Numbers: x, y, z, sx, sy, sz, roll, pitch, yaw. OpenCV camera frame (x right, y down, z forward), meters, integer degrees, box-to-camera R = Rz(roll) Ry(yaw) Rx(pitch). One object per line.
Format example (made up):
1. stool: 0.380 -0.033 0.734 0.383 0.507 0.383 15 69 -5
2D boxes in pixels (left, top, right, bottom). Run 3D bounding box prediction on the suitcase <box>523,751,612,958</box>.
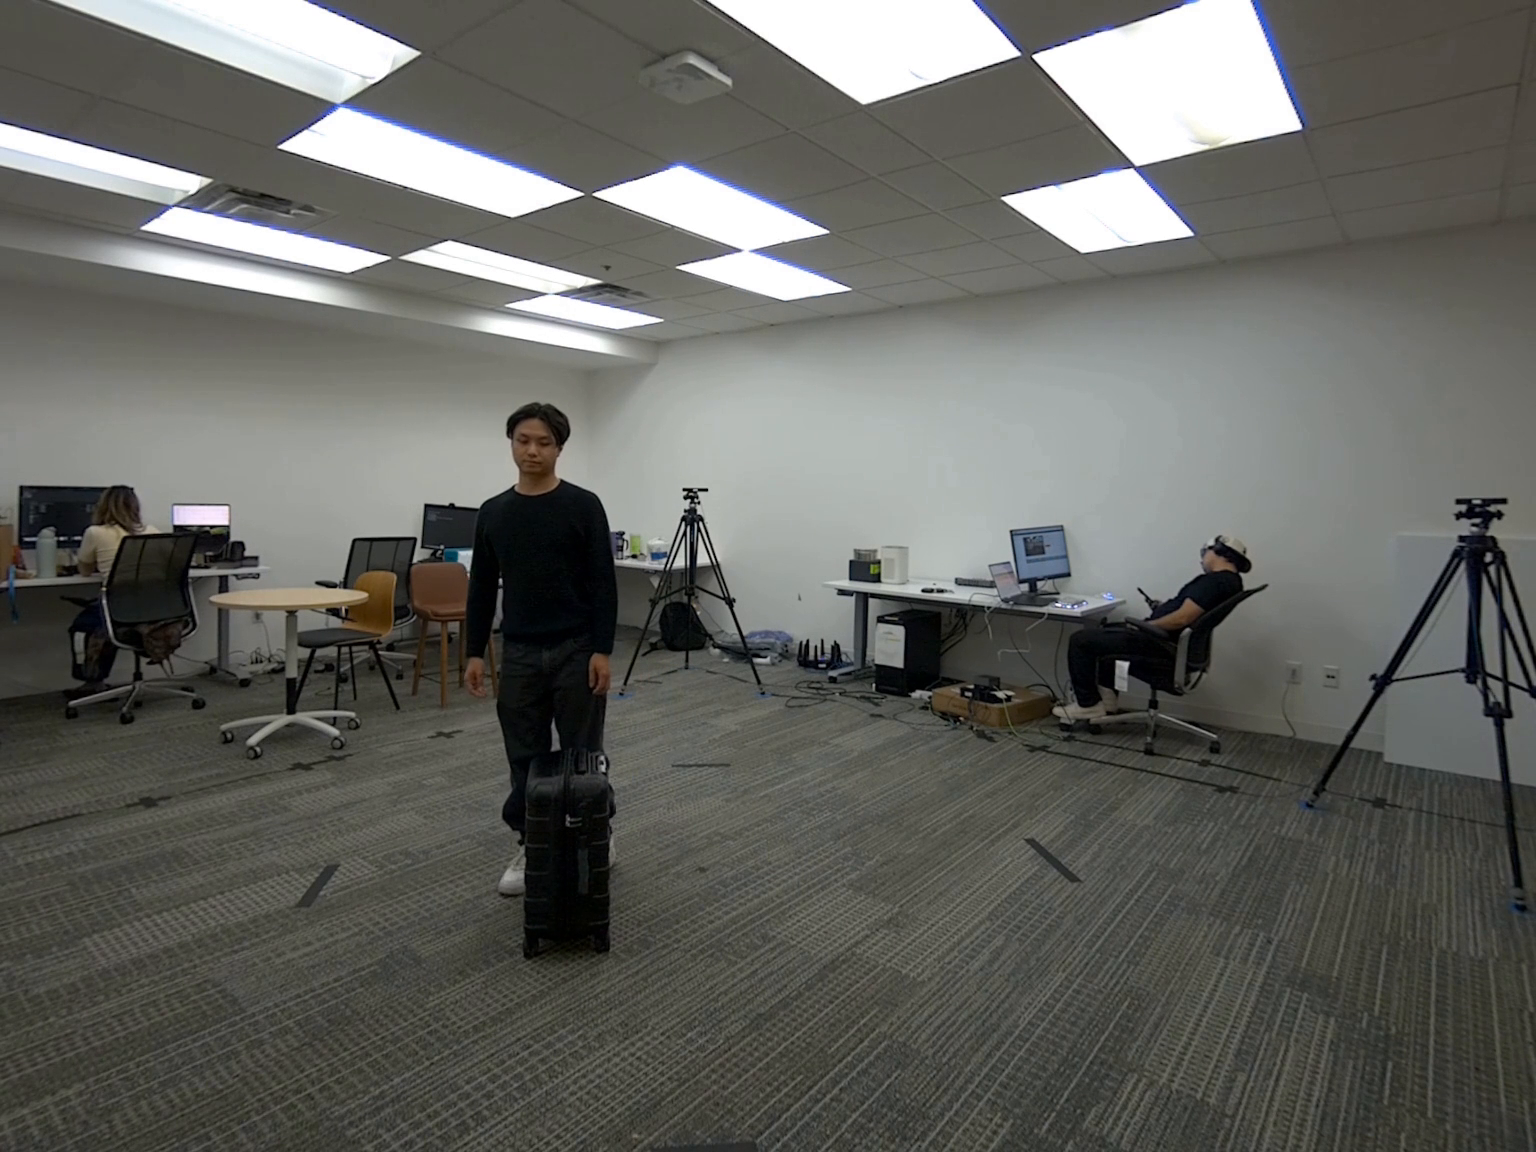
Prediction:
1. suitcase: -0.634 0.835 2.637 0.245 0.547 0.381 0 5 -11
